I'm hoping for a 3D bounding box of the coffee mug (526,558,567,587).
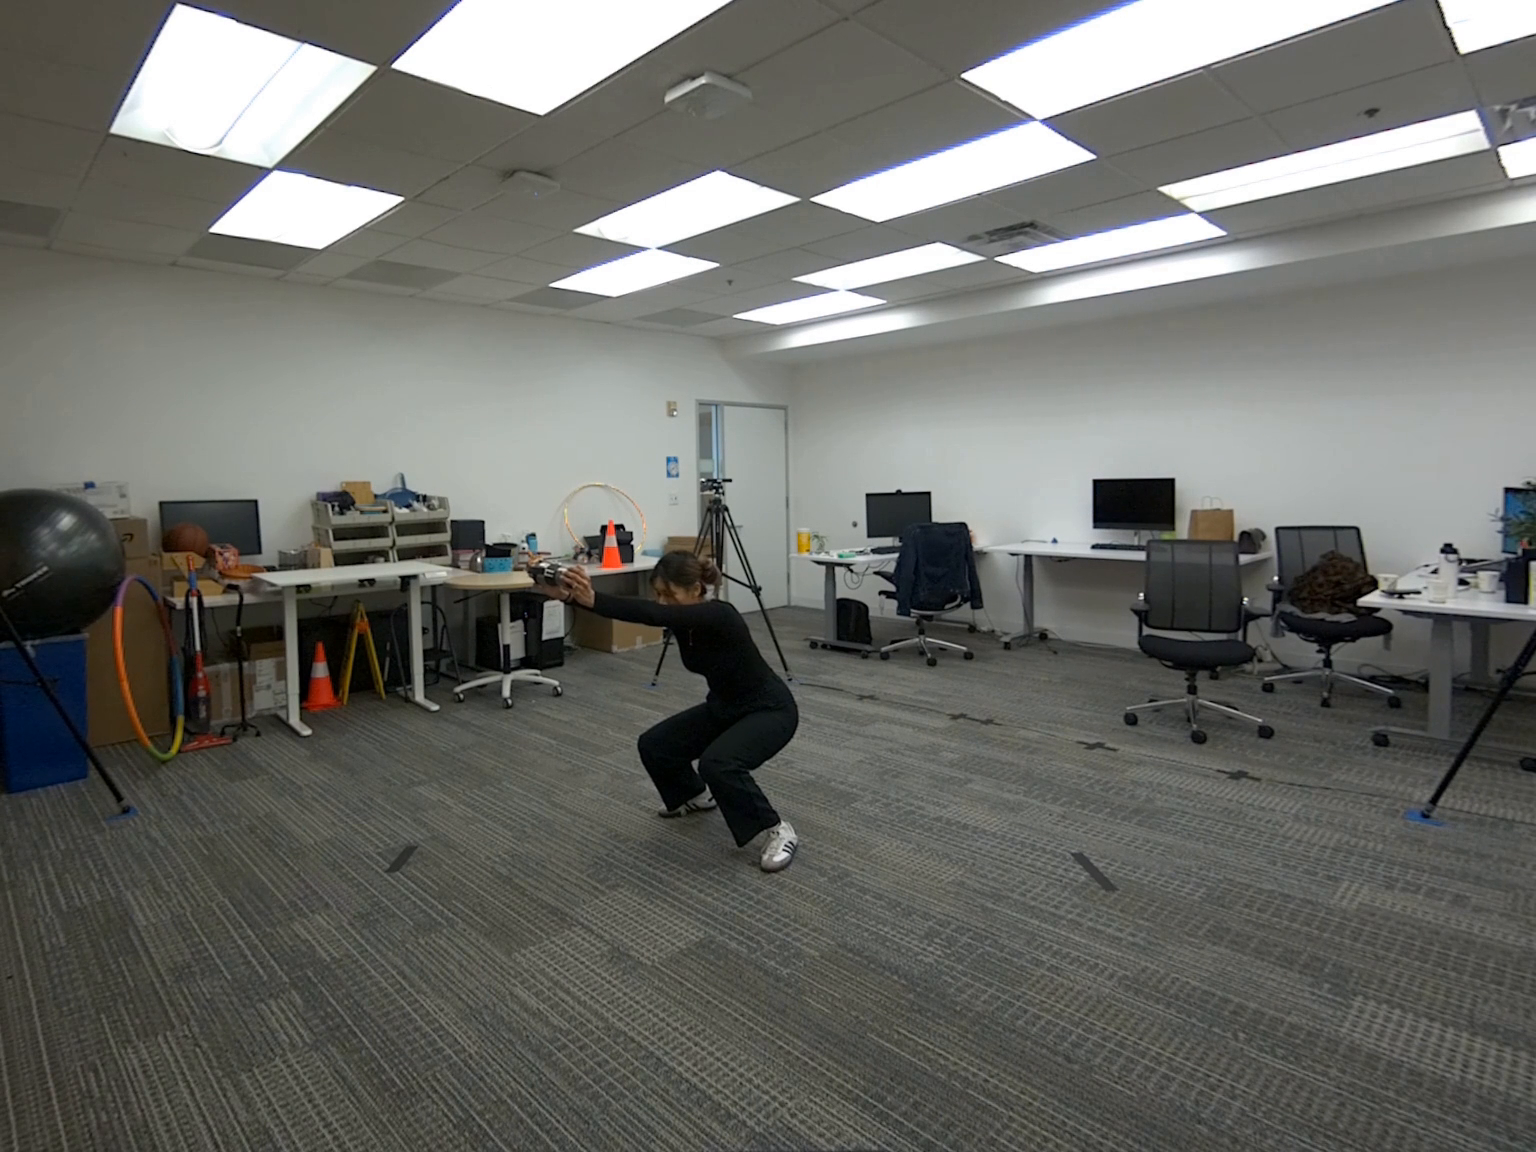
[{"bbox_3d":[-0.712,0.007,2.849,0.119,0.087,0.209,-11,12,-33],"label":"coffee mug"}]
